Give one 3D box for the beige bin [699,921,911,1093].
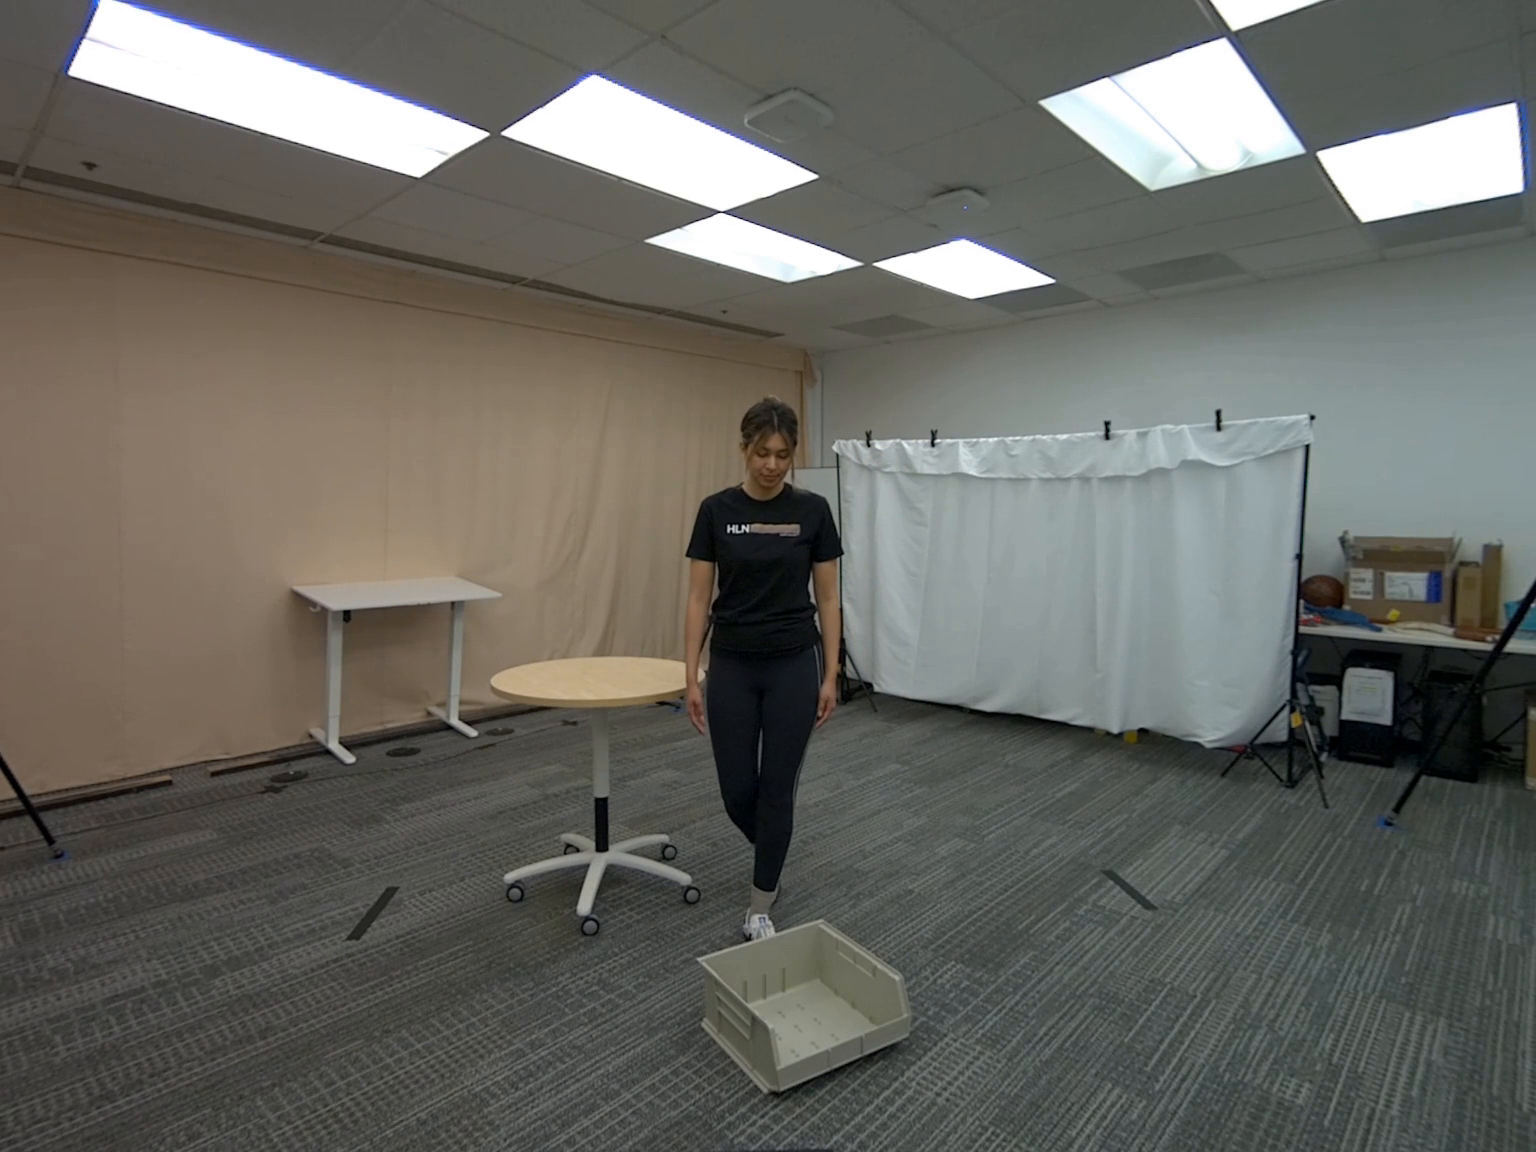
[{"bbox_3d":[0.093,1.121,2.203,0.411,0.188,0.389,-3,4,-32],"label":"beige bin"}]
